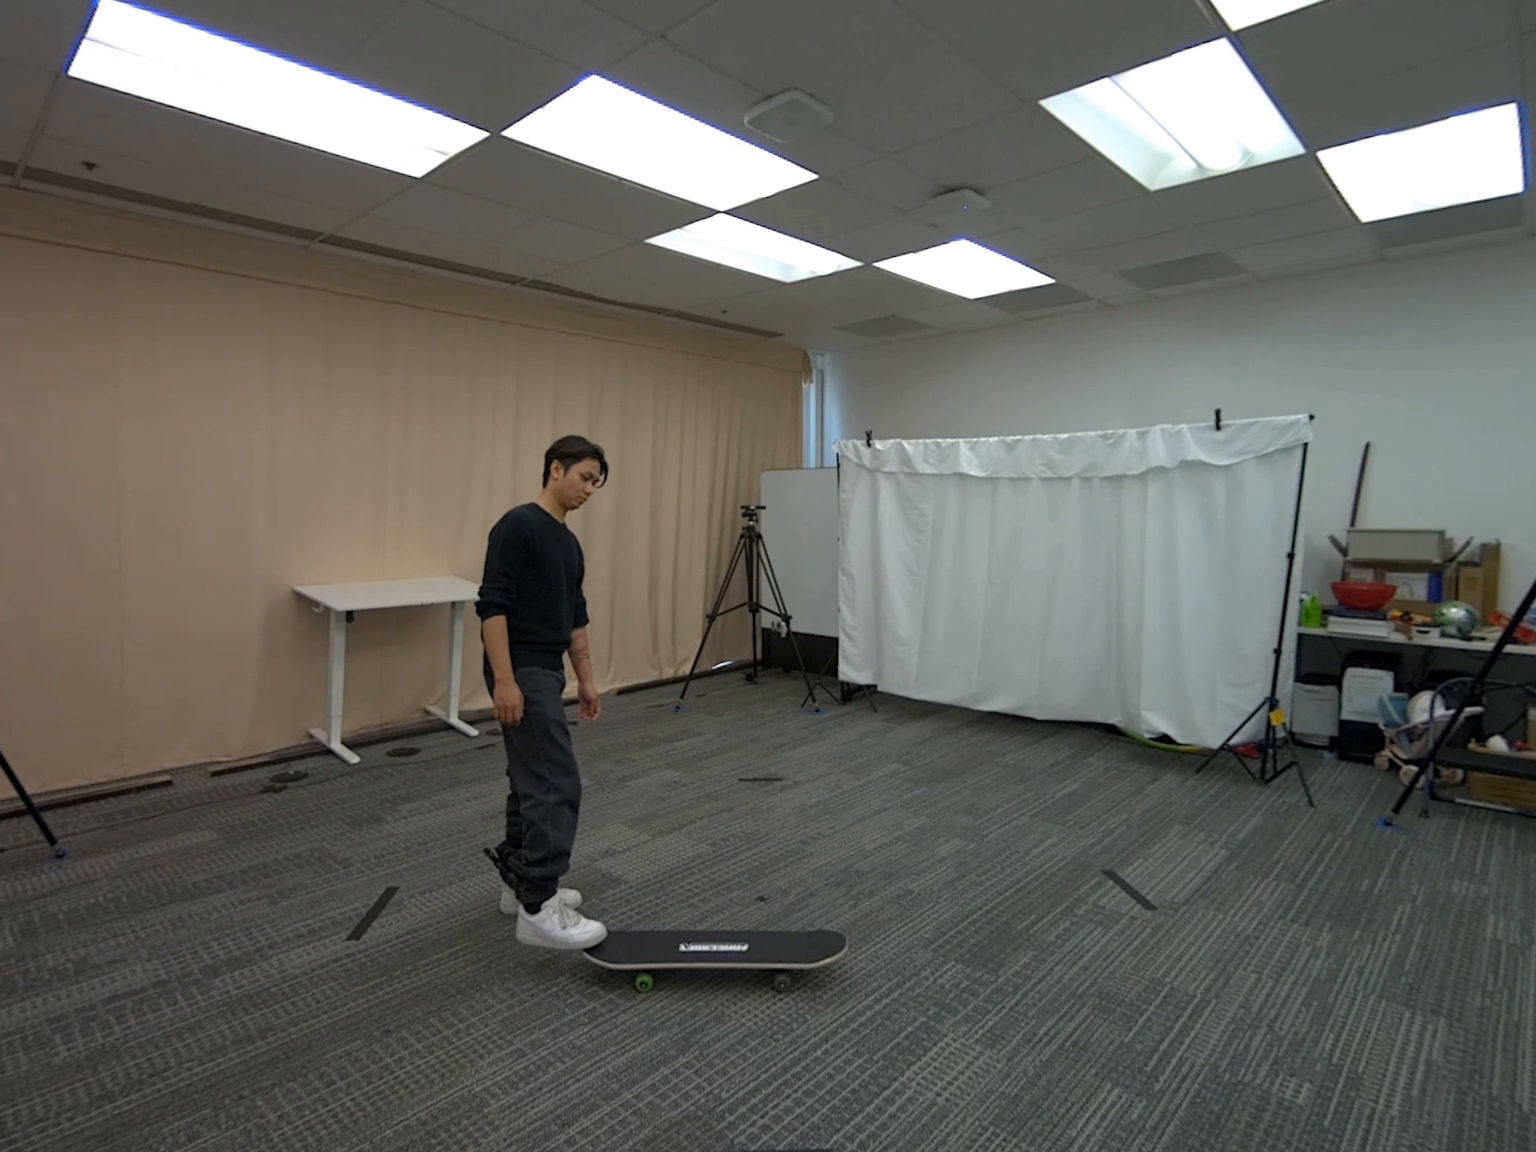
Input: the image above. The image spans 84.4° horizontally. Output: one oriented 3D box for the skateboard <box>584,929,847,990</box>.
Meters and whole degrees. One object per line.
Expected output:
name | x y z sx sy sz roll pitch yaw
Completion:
skateboard | -0.158 1.132 2.476 0.786 0.110 0.194 -1 5 0
